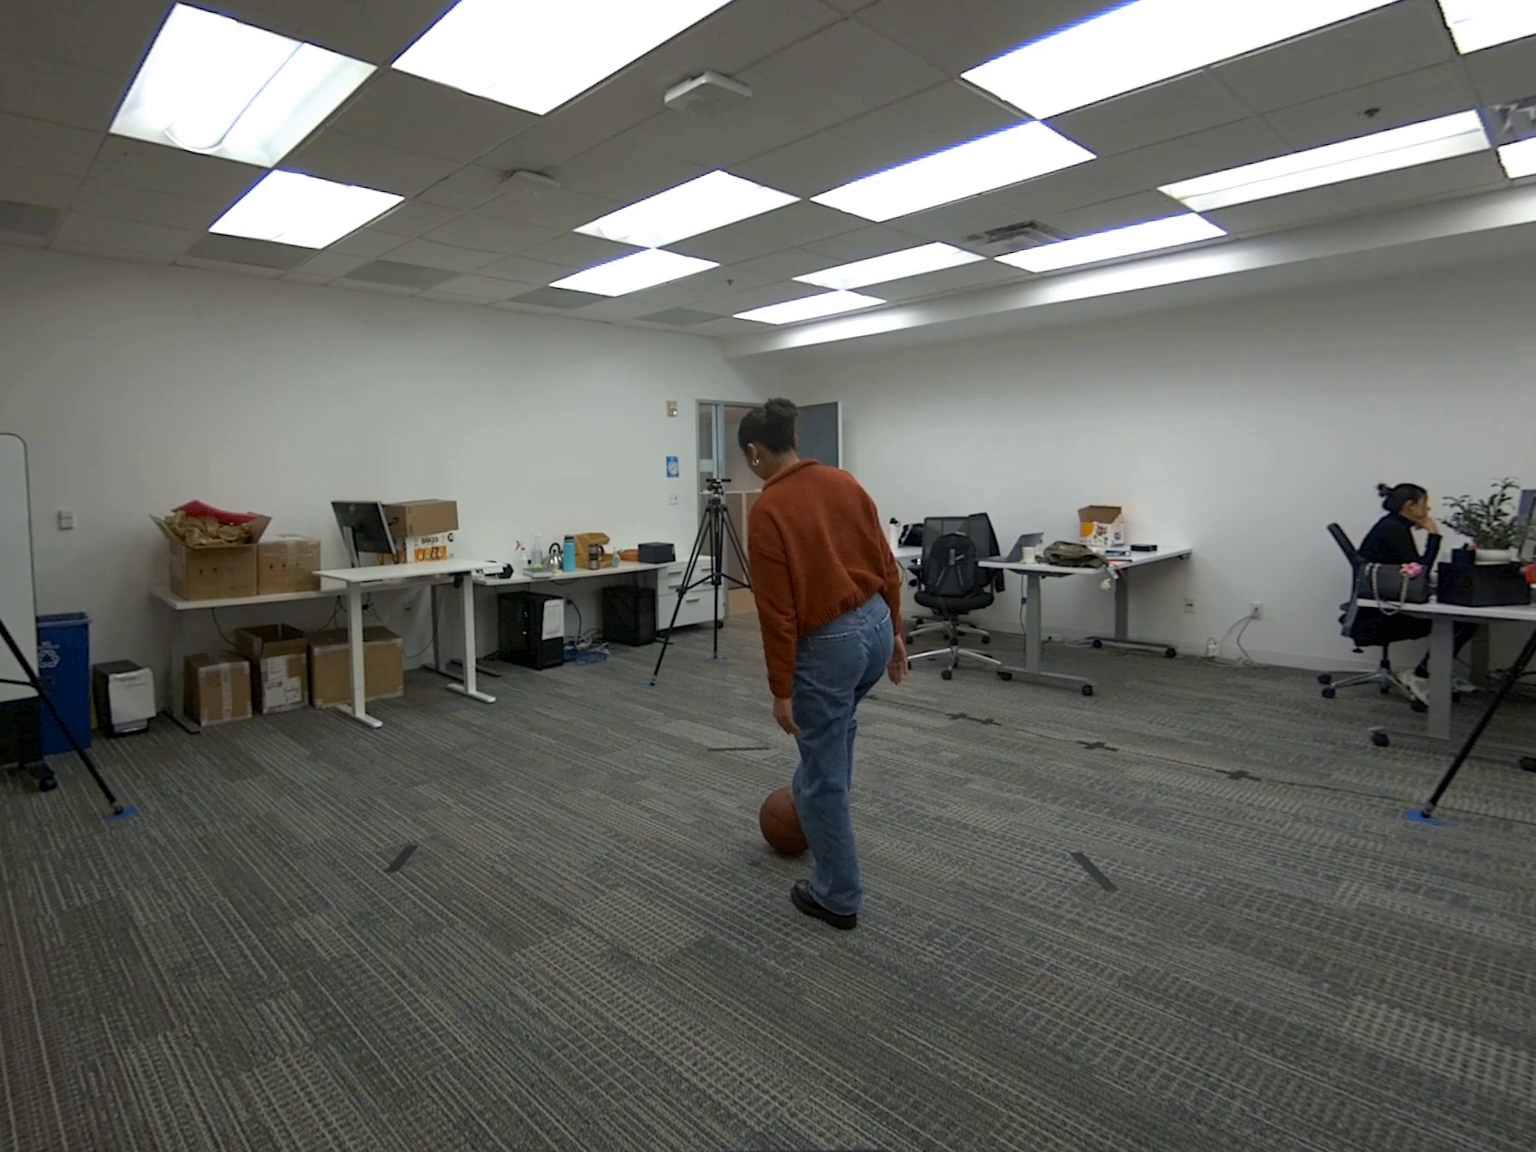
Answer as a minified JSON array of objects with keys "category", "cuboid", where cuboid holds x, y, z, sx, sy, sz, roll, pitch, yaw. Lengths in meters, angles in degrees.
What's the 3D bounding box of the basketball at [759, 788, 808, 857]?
[{"category":"basketball","cuboid":[0.079,0.913,3.202,0.236,0.235,0.237,-1,5,-2]}]
